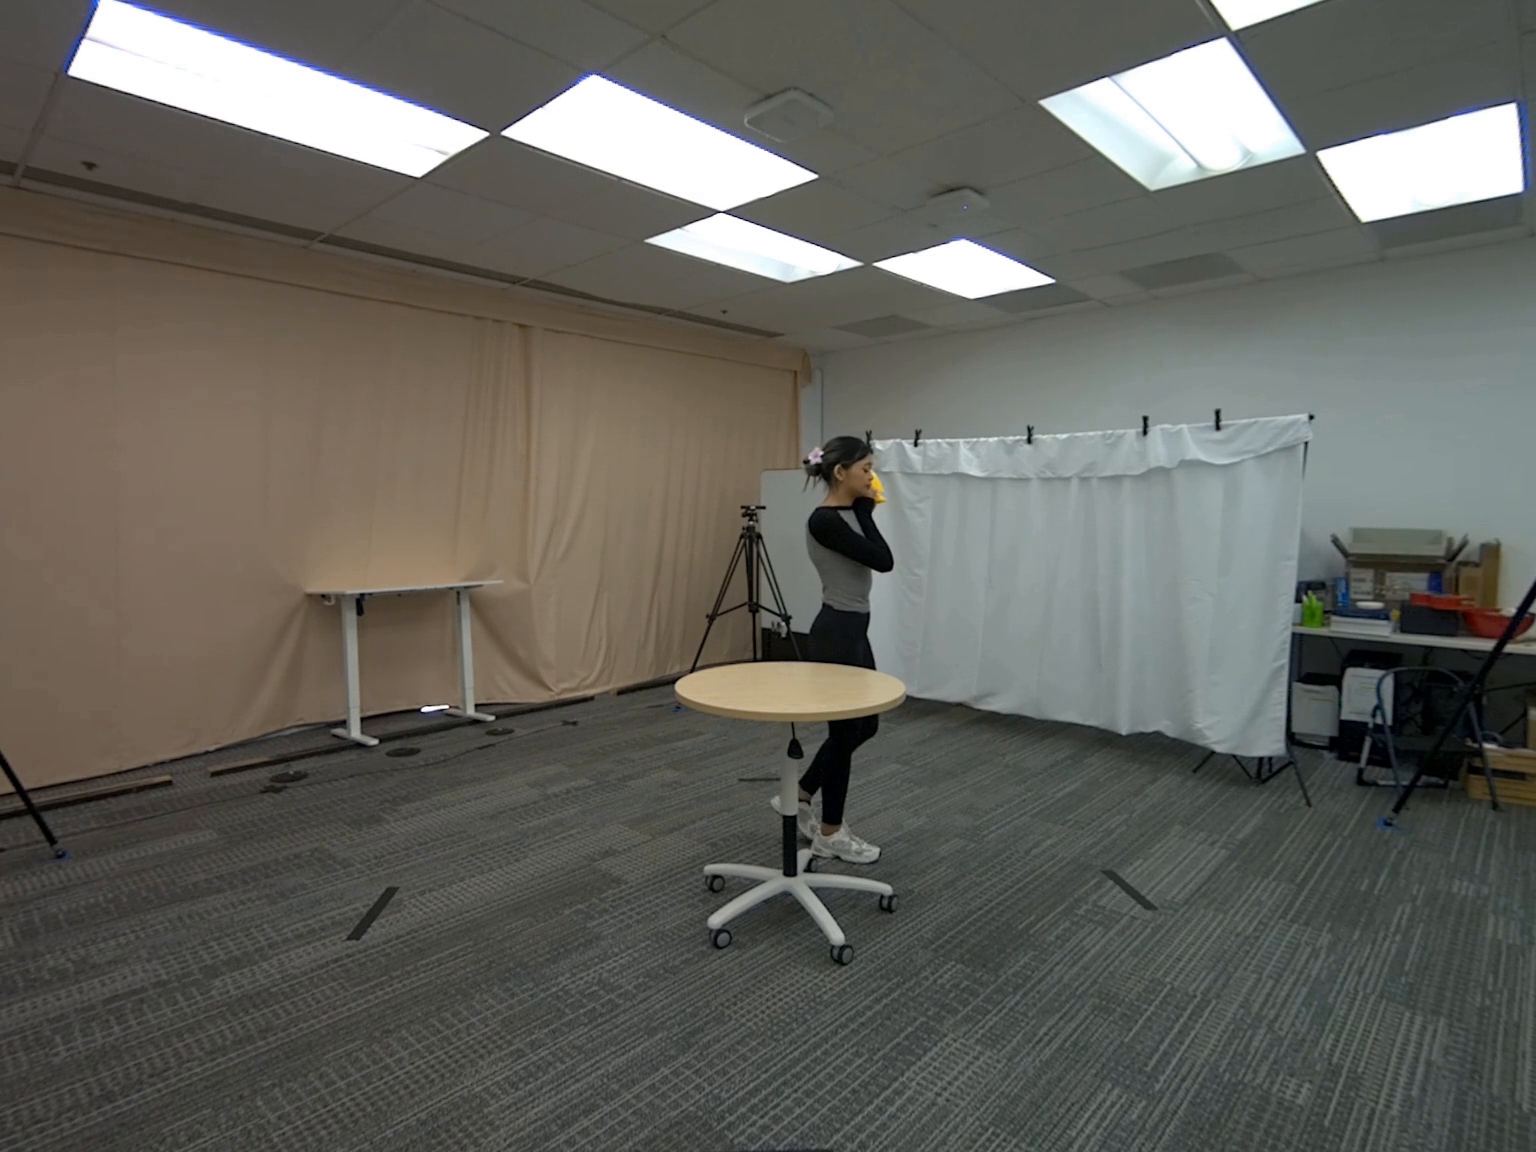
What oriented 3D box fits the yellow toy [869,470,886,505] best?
[{"bbox_3d":[0.372,-0.413,3.438,0.197,0.232,0.199,-11,-9,21],"label":"yellow toy"}]
